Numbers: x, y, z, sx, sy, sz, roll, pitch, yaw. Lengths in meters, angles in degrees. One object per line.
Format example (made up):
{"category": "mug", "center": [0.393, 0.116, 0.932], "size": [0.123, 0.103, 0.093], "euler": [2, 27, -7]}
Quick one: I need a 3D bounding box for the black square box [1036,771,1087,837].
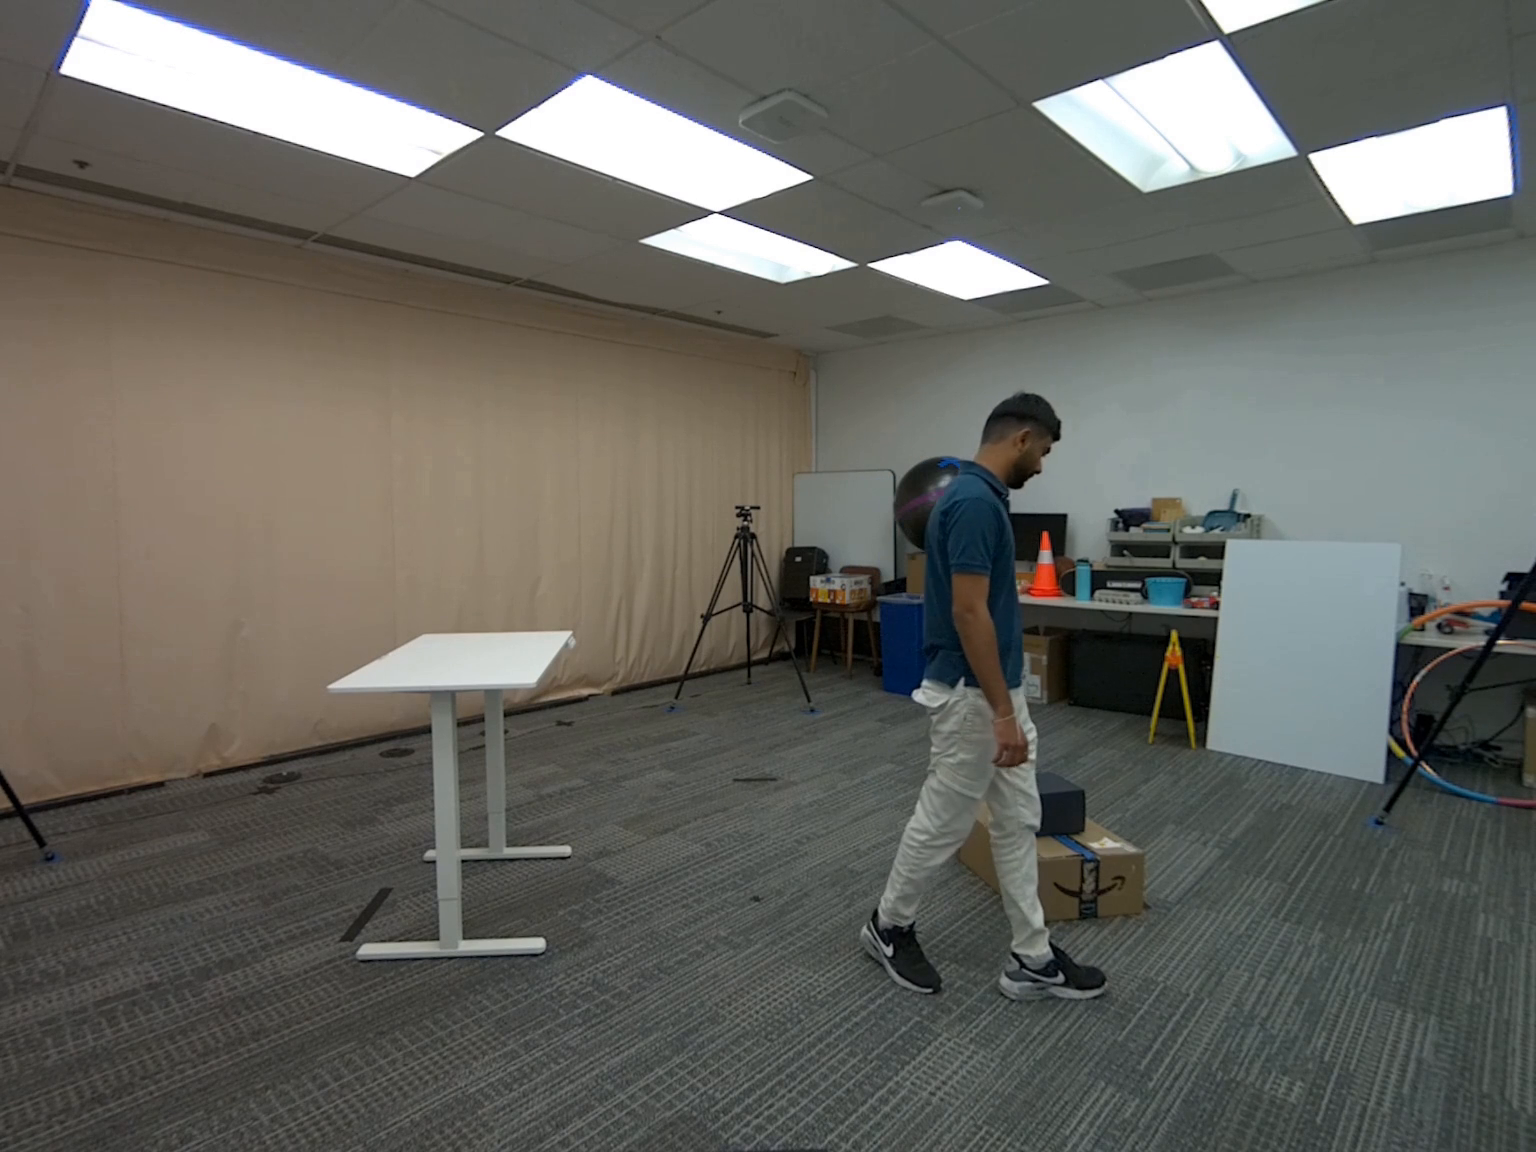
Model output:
{"category": "black square box", "center": [1.007, 0.833, 3.088], "size": [0.225, 0.156, 0.220], "euler": [-2, 3, -11]}
